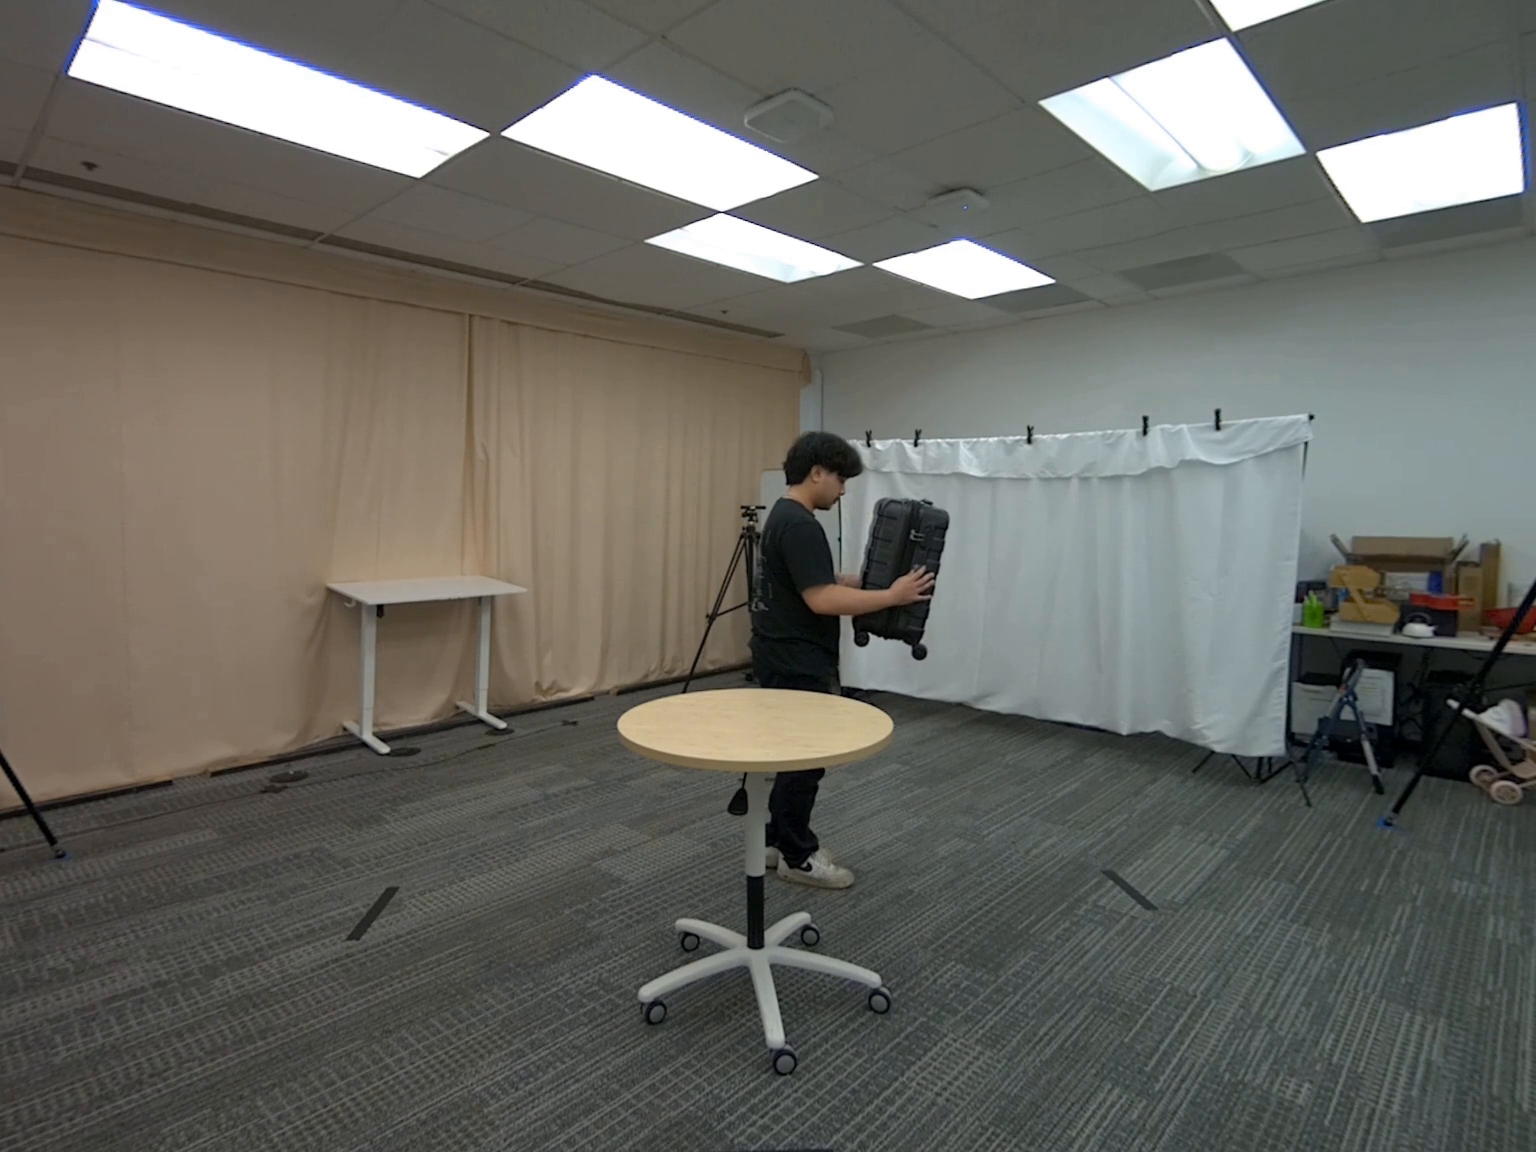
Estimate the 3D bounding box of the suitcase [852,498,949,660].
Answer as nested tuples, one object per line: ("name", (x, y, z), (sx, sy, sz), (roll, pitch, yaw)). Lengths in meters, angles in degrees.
("suitcase", (0.486, -0.014, 3.097), (0.250, 0.548, 0.373), (9, 5, 6))
